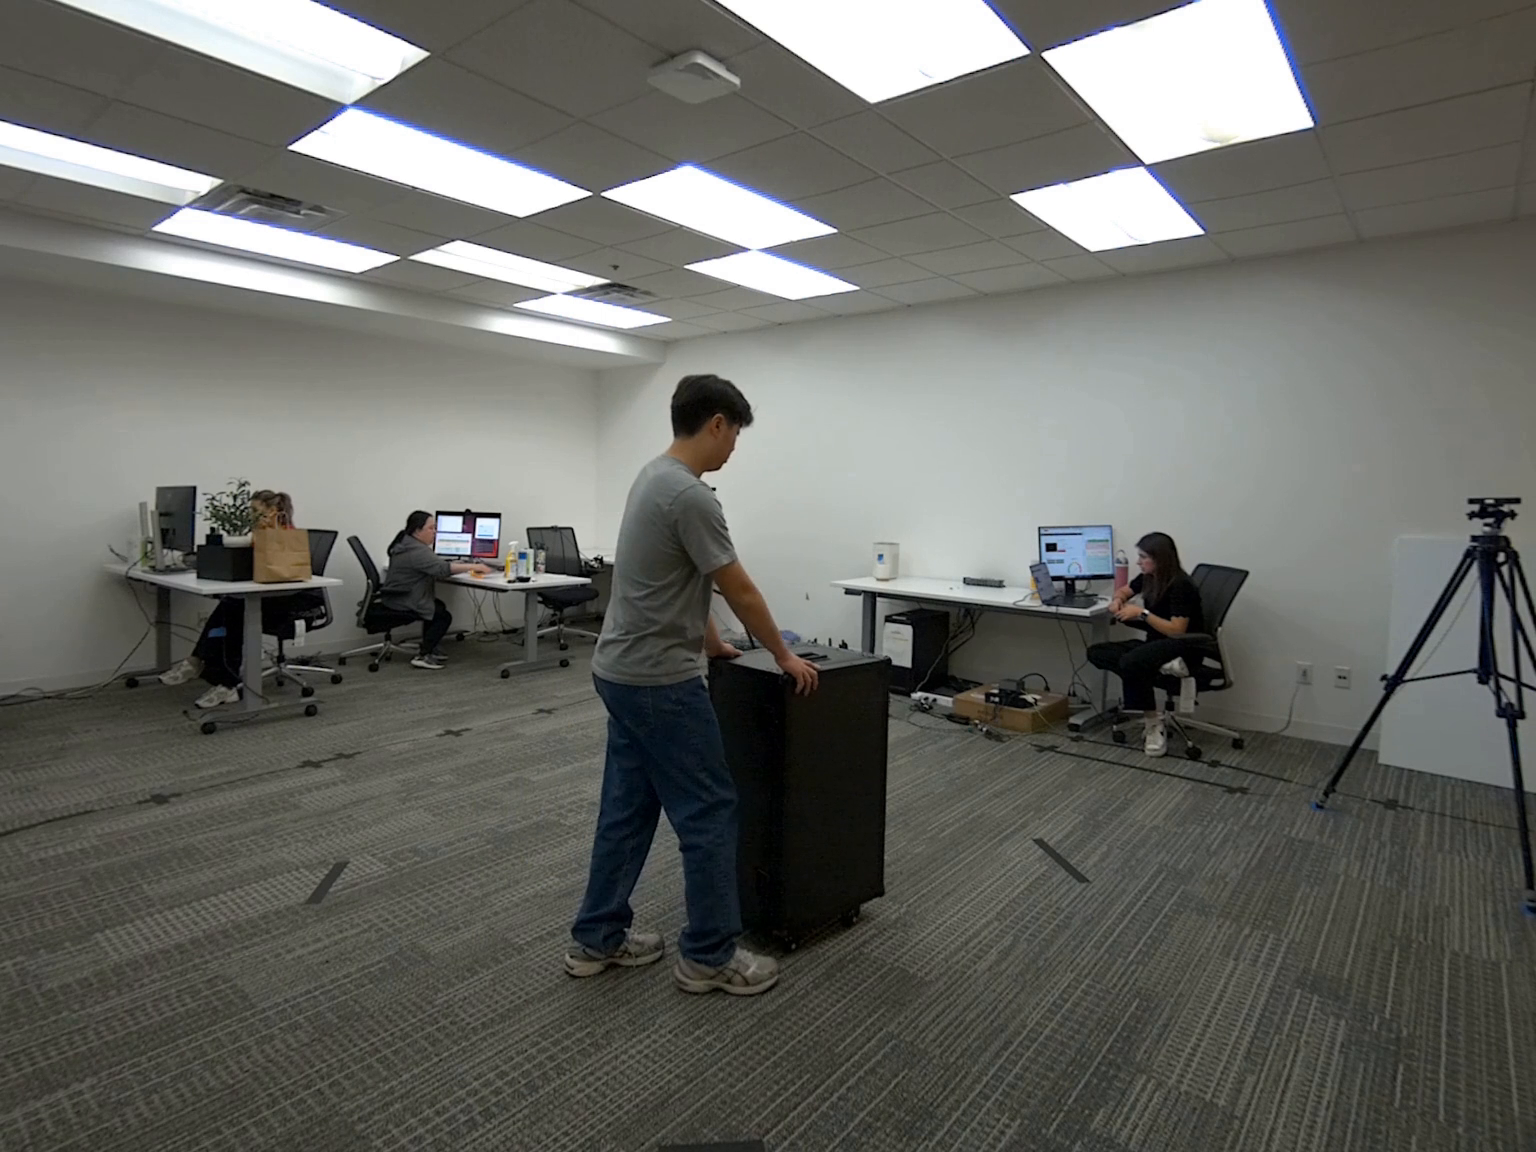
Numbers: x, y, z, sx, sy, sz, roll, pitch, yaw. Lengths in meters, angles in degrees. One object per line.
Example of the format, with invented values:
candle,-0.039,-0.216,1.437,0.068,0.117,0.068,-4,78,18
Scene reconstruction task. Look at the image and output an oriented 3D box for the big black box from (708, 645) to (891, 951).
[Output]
big black box,0.075,0.684,2.754,0.505,0.859,0.409,-2,3,-41
